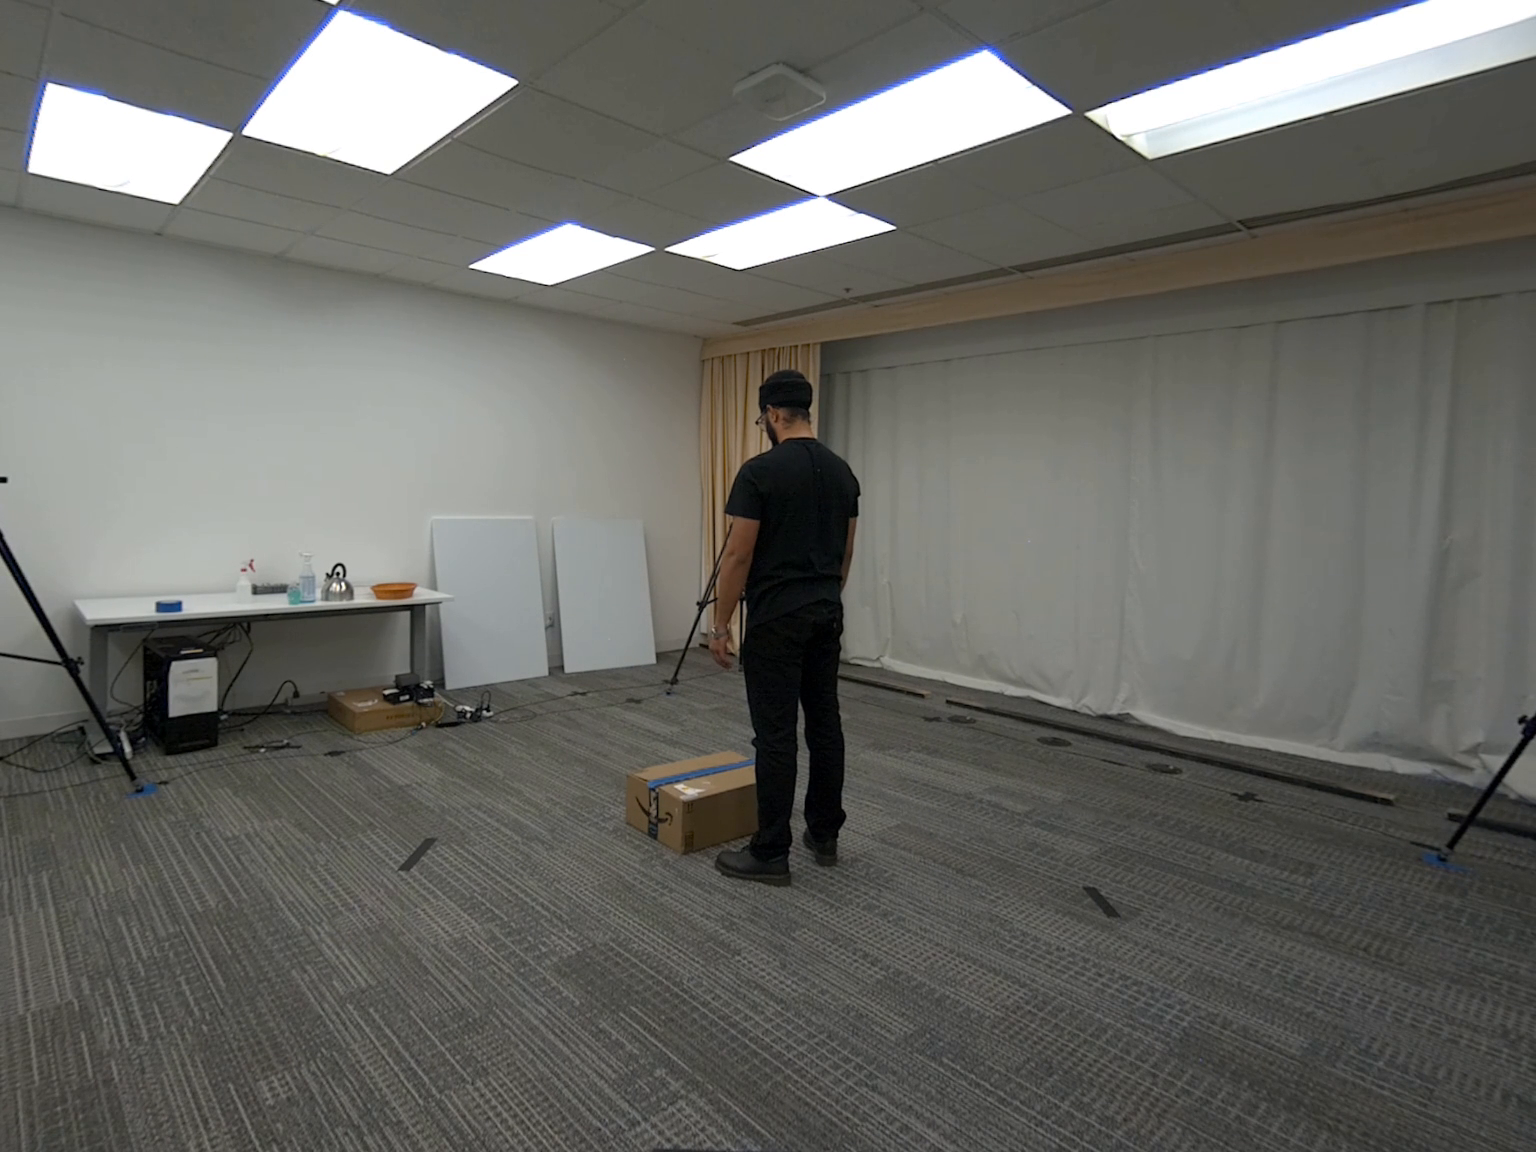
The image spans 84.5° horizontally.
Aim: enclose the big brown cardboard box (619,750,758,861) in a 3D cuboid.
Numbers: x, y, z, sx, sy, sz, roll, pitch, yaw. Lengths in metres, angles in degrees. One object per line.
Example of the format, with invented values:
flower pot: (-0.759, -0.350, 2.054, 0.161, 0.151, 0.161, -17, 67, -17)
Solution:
big brown cardboard box: (-0.263, 0.948, 3.583, 0.575, 0.232, 0.428, -1, 5, -41)
